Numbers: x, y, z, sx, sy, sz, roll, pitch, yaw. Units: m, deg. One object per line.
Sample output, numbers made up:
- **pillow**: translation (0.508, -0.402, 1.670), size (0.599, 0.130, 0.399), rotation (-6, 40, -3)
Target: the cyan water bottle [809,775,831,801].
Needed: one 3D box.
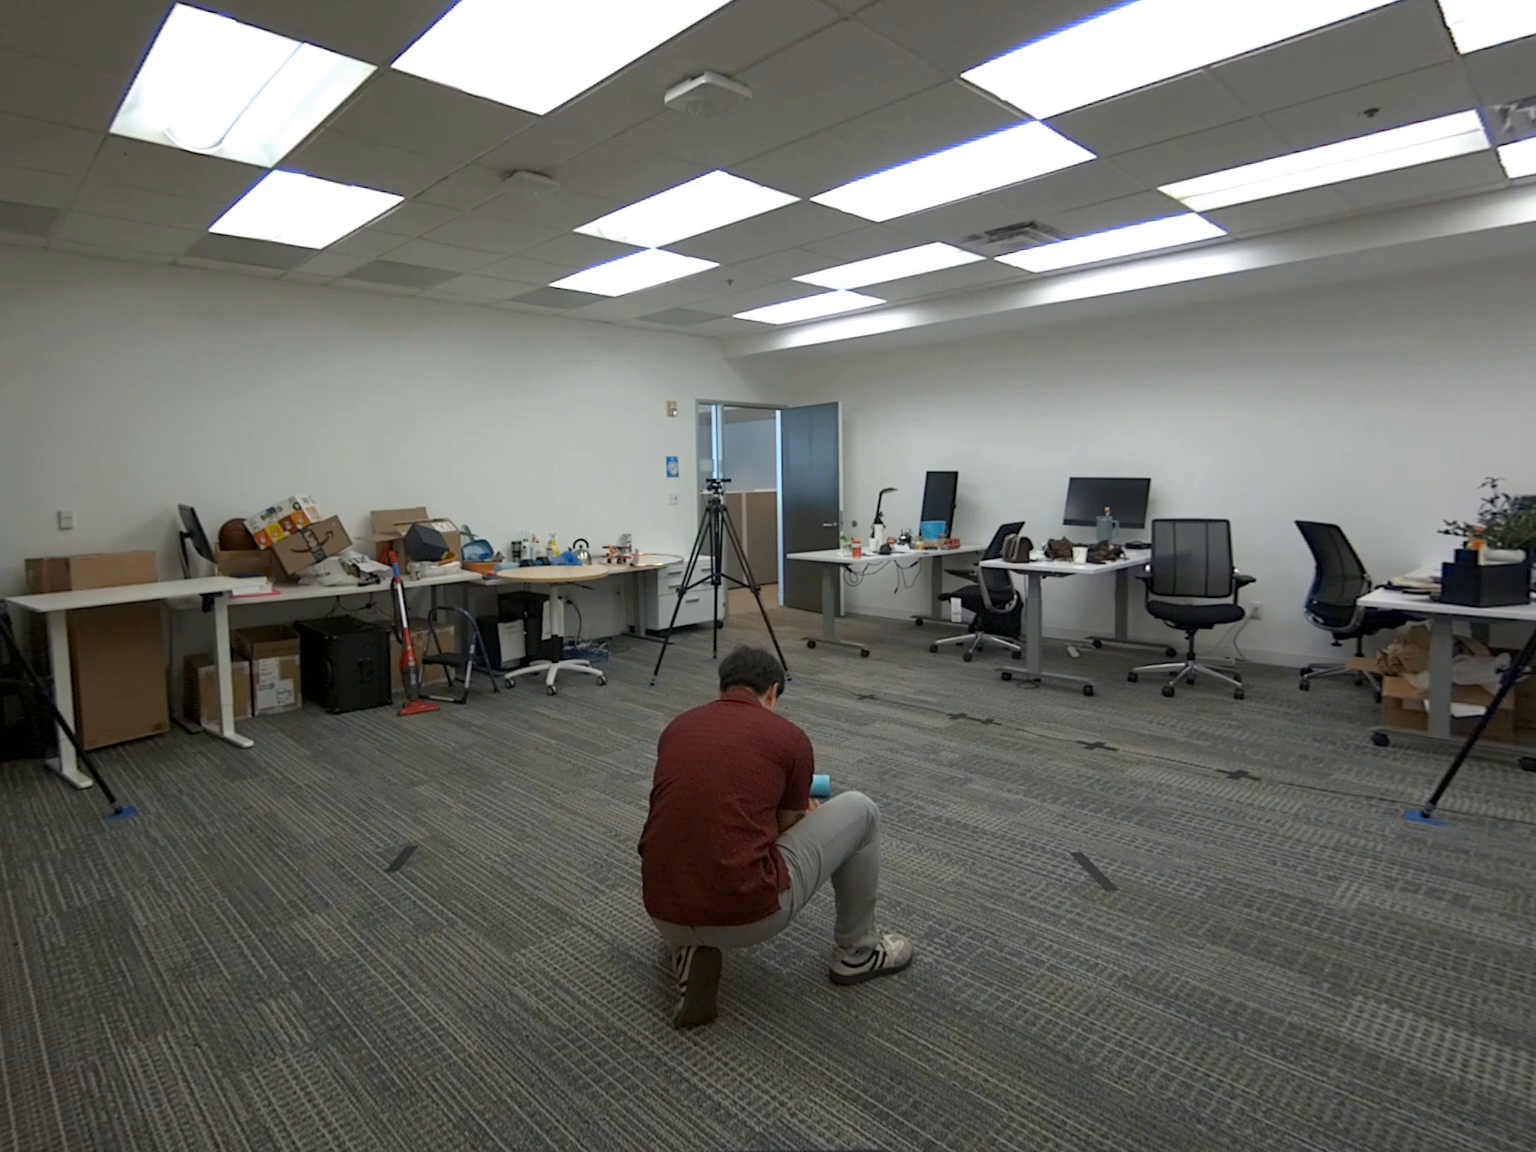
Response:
- **cyan water bottle**: translation (0.136, 0.921, 3.768), size (0.285, 0.092, 0.092), rotation (1, 5, 7)
